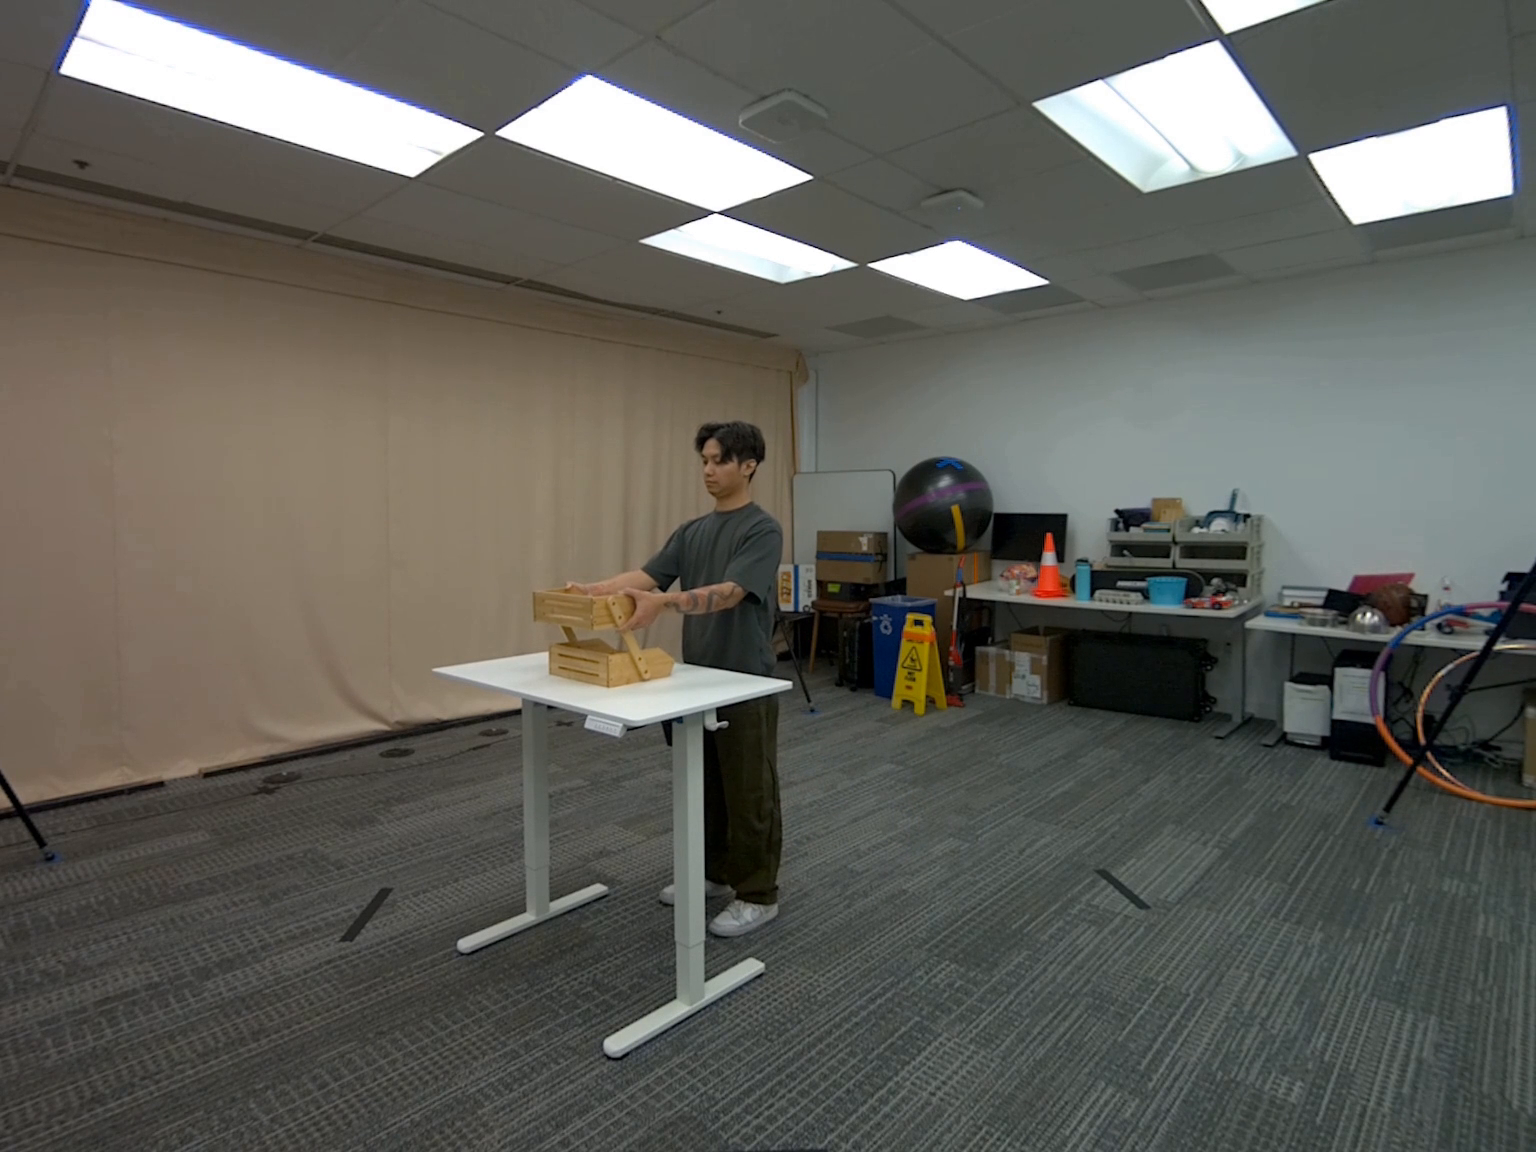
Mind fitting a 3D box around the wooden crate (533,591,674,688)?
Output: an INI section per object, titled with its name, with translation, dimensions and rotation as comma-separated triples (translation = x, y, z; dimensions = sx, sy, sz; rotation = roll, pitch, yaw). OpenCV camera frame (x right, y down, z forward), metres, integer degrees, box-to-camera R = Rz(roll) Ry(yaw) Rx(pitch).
[wooden crate]
translation = -0.497, 0.169, 2.531
dimensions = 0.335, 0.273, 0.293
rotation = 2, 5, 43
